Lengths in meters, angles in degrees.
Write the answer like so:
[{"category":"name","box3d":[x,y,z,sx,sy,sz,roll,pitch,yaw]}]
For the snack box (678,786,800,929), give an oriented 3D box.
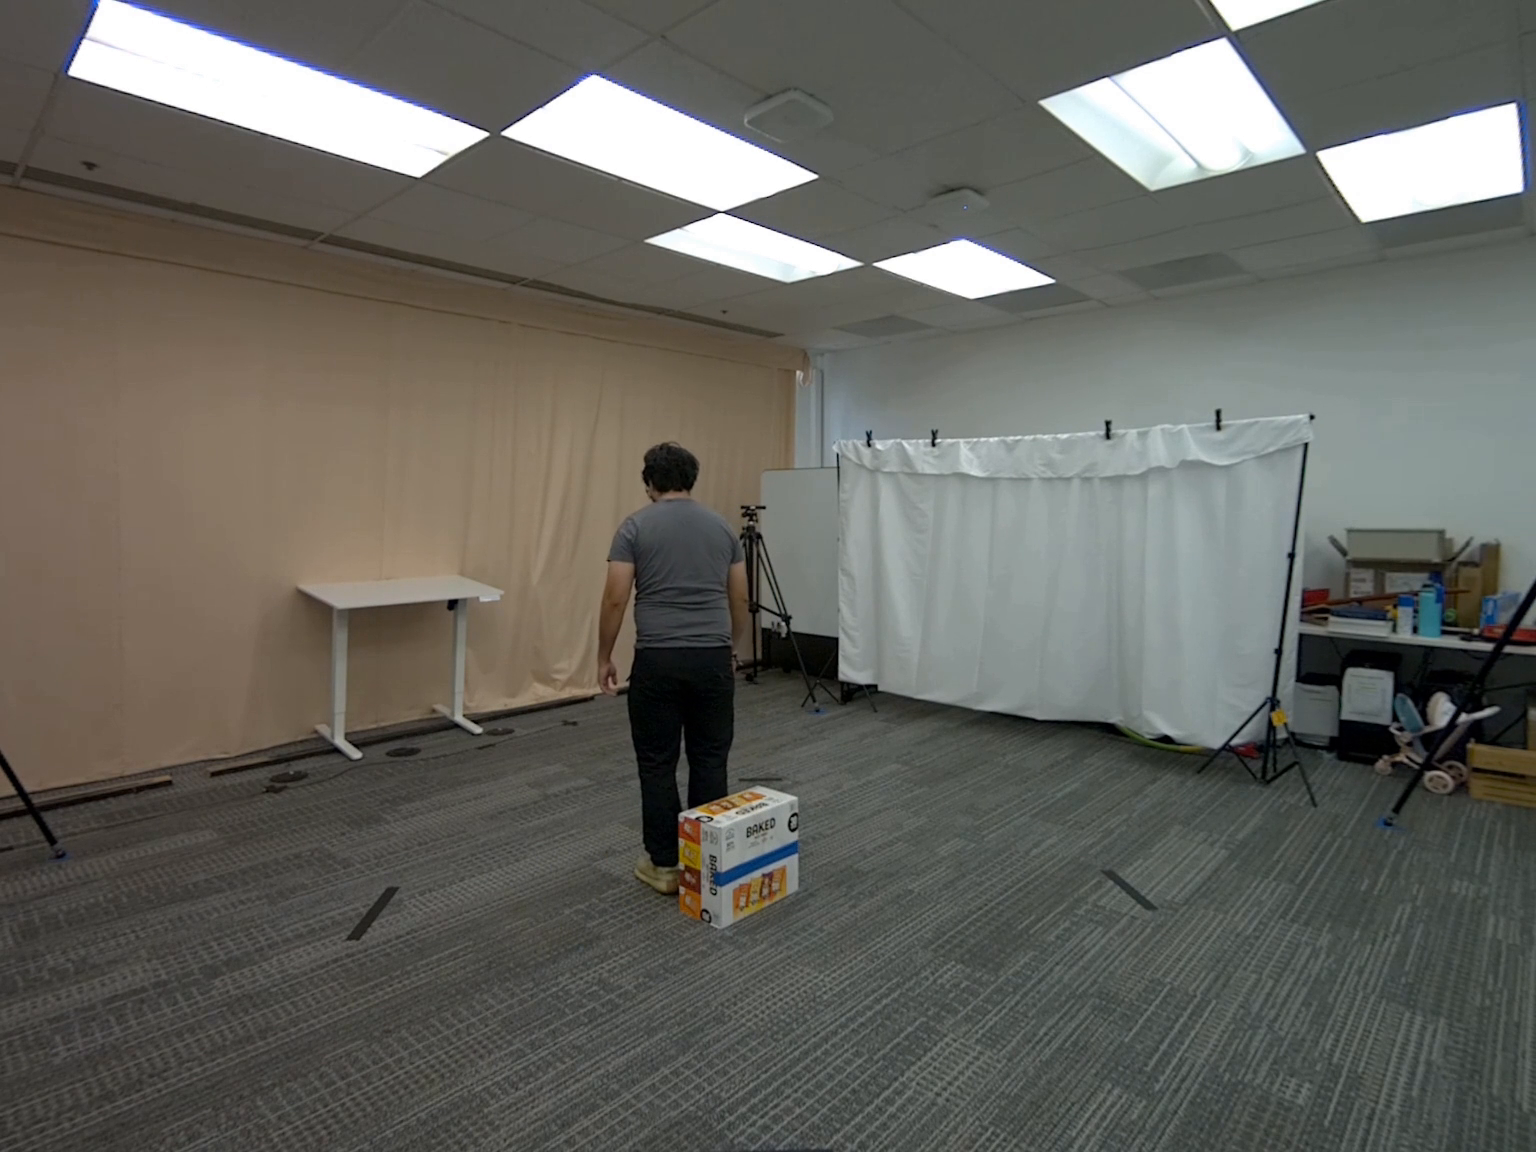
[{"category":"snack box","box3d":[-0.093,0.975,2.967,0.212,0.340,0.393,2,4,43]}]
